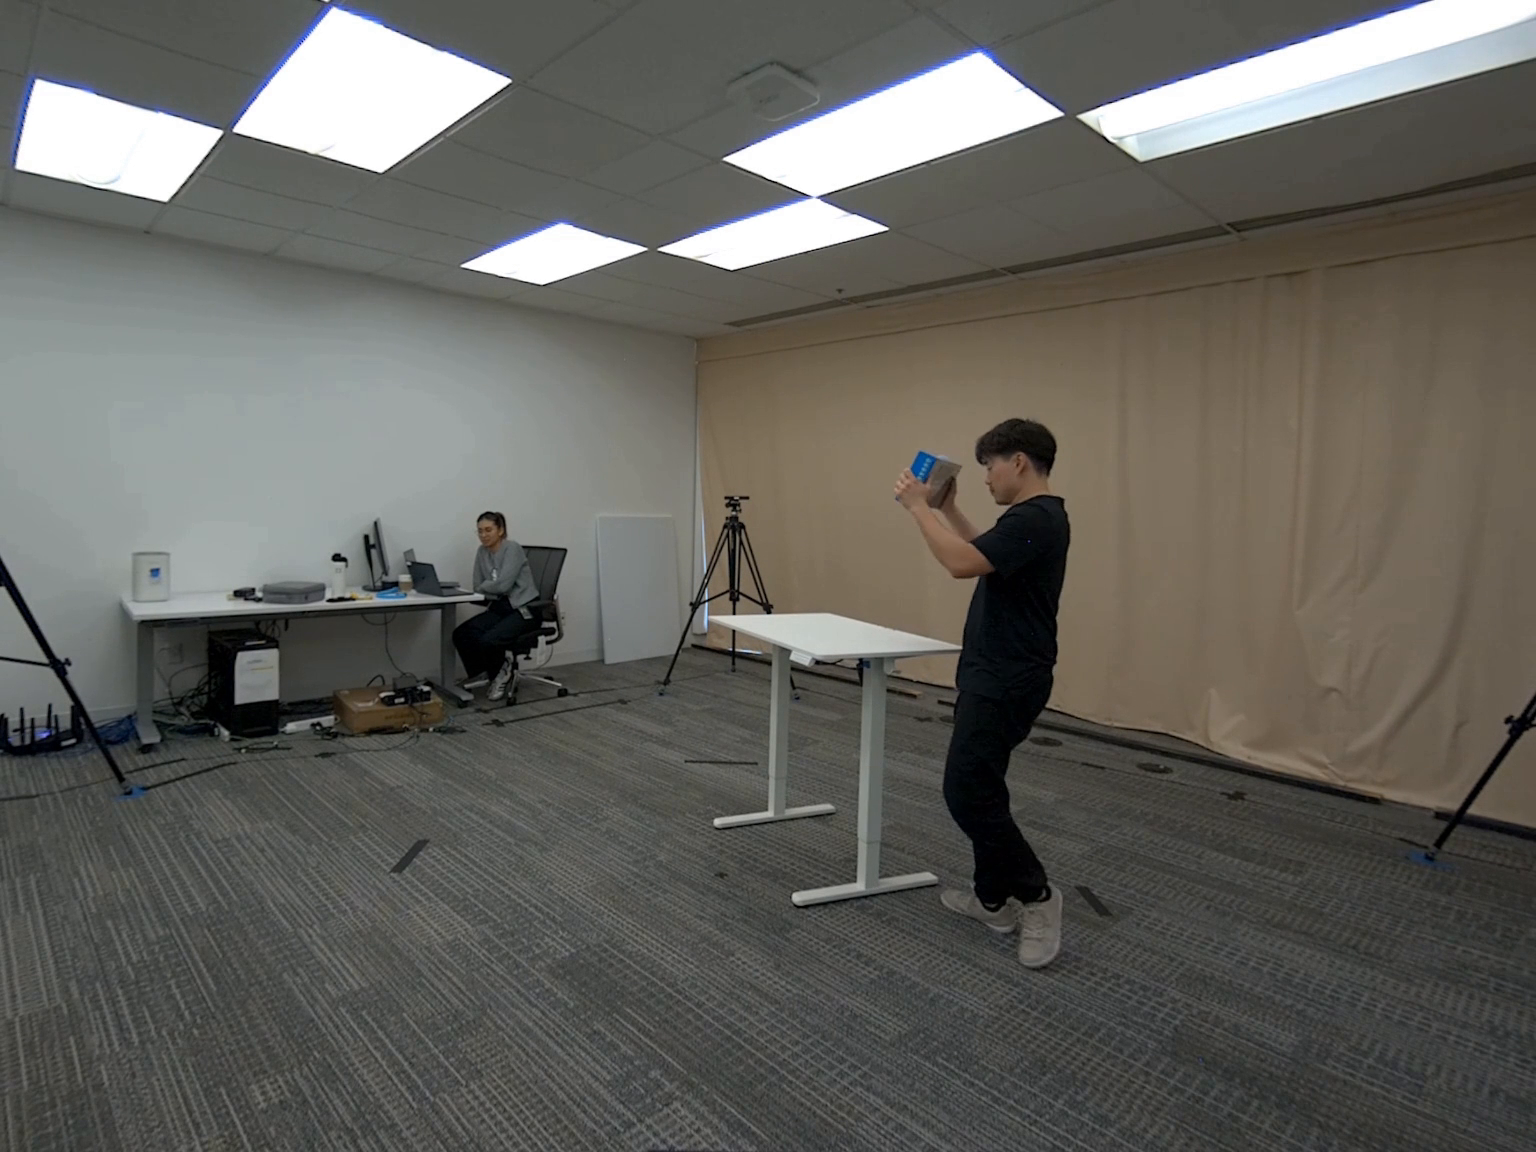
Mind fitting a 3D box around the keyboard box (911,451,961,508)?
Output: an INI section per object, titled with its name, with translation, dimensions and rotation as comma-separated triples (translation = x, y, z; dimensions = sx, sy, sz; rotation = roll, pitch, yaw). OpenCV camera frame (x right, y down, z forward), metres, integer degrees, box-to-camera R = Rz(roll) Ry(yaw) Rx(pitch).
[keyboard box]
translation = 0.542, -0.311, 2.799
dimensions = 0.060, 0.175, 0.430
rotation = 28, 13, 18
